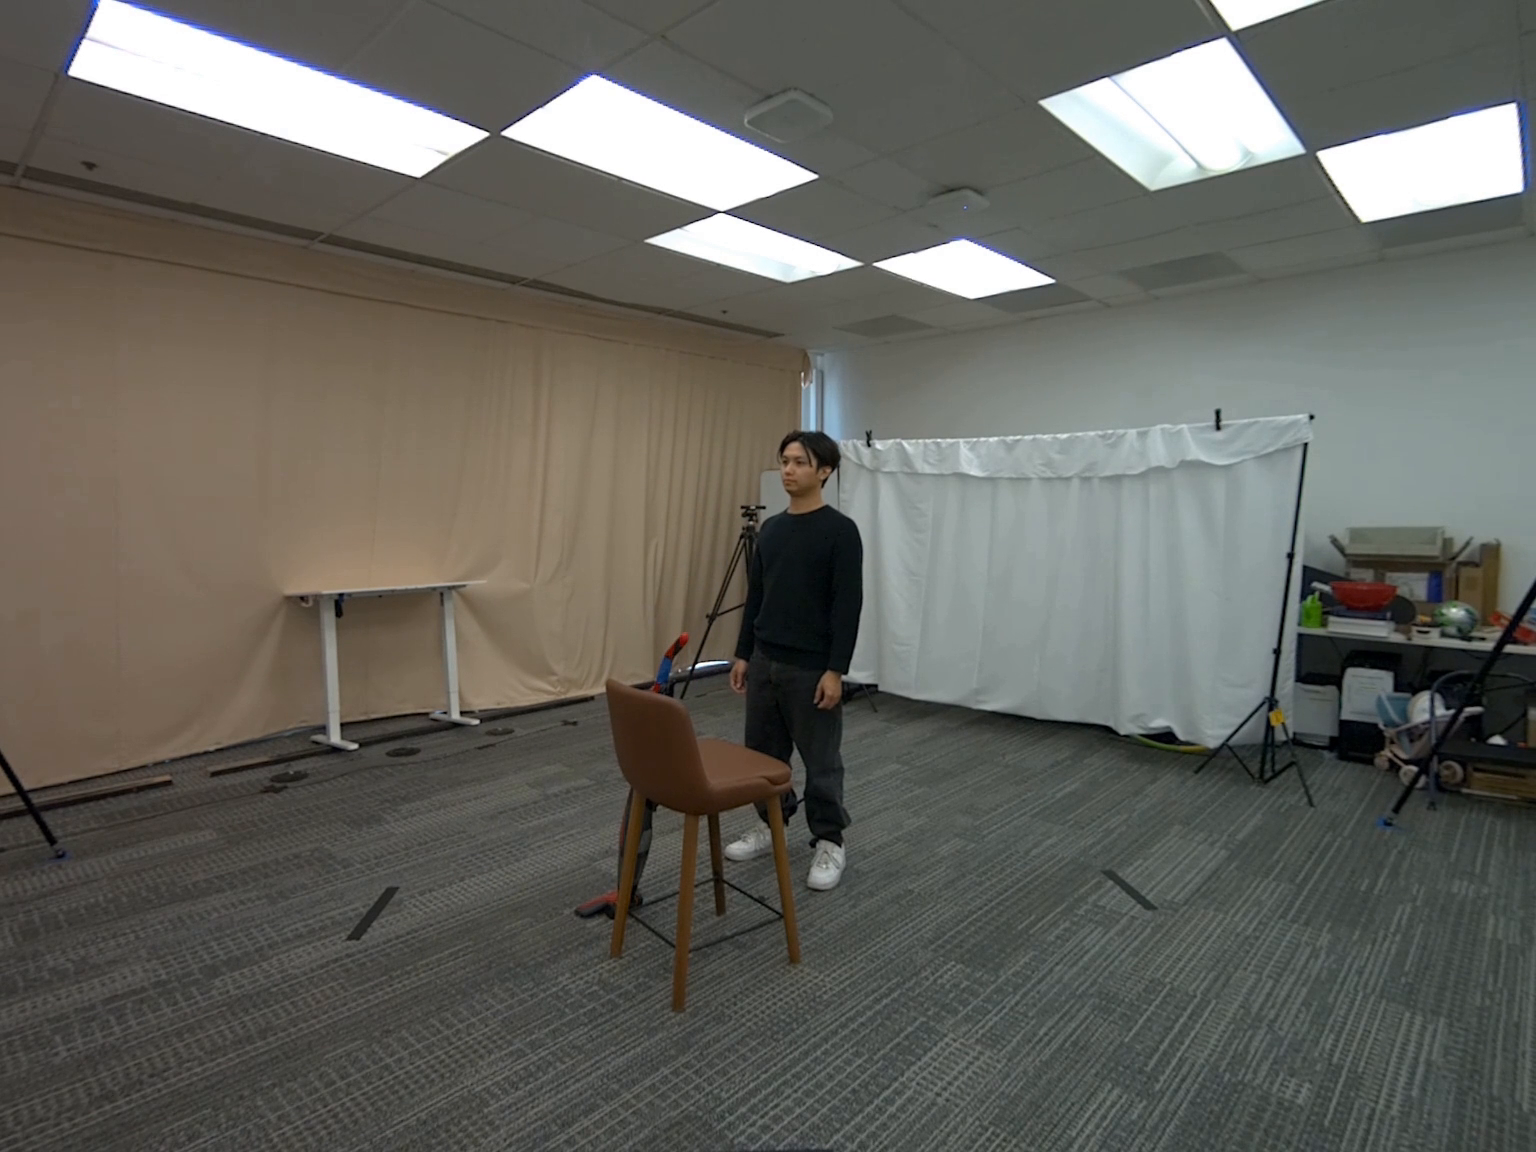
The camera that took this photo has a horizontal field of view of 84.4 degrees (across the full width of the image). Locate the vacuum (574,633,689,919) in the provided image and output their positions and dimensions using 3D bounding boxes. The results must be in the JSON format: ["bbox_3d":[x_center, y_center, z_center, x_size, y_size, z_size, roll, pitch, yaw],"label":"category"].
[{"bbox_3d":[-0.405,0.670,2.776,0.149,1.044,0.245,27,19,35],"label":"vacuum"}]
